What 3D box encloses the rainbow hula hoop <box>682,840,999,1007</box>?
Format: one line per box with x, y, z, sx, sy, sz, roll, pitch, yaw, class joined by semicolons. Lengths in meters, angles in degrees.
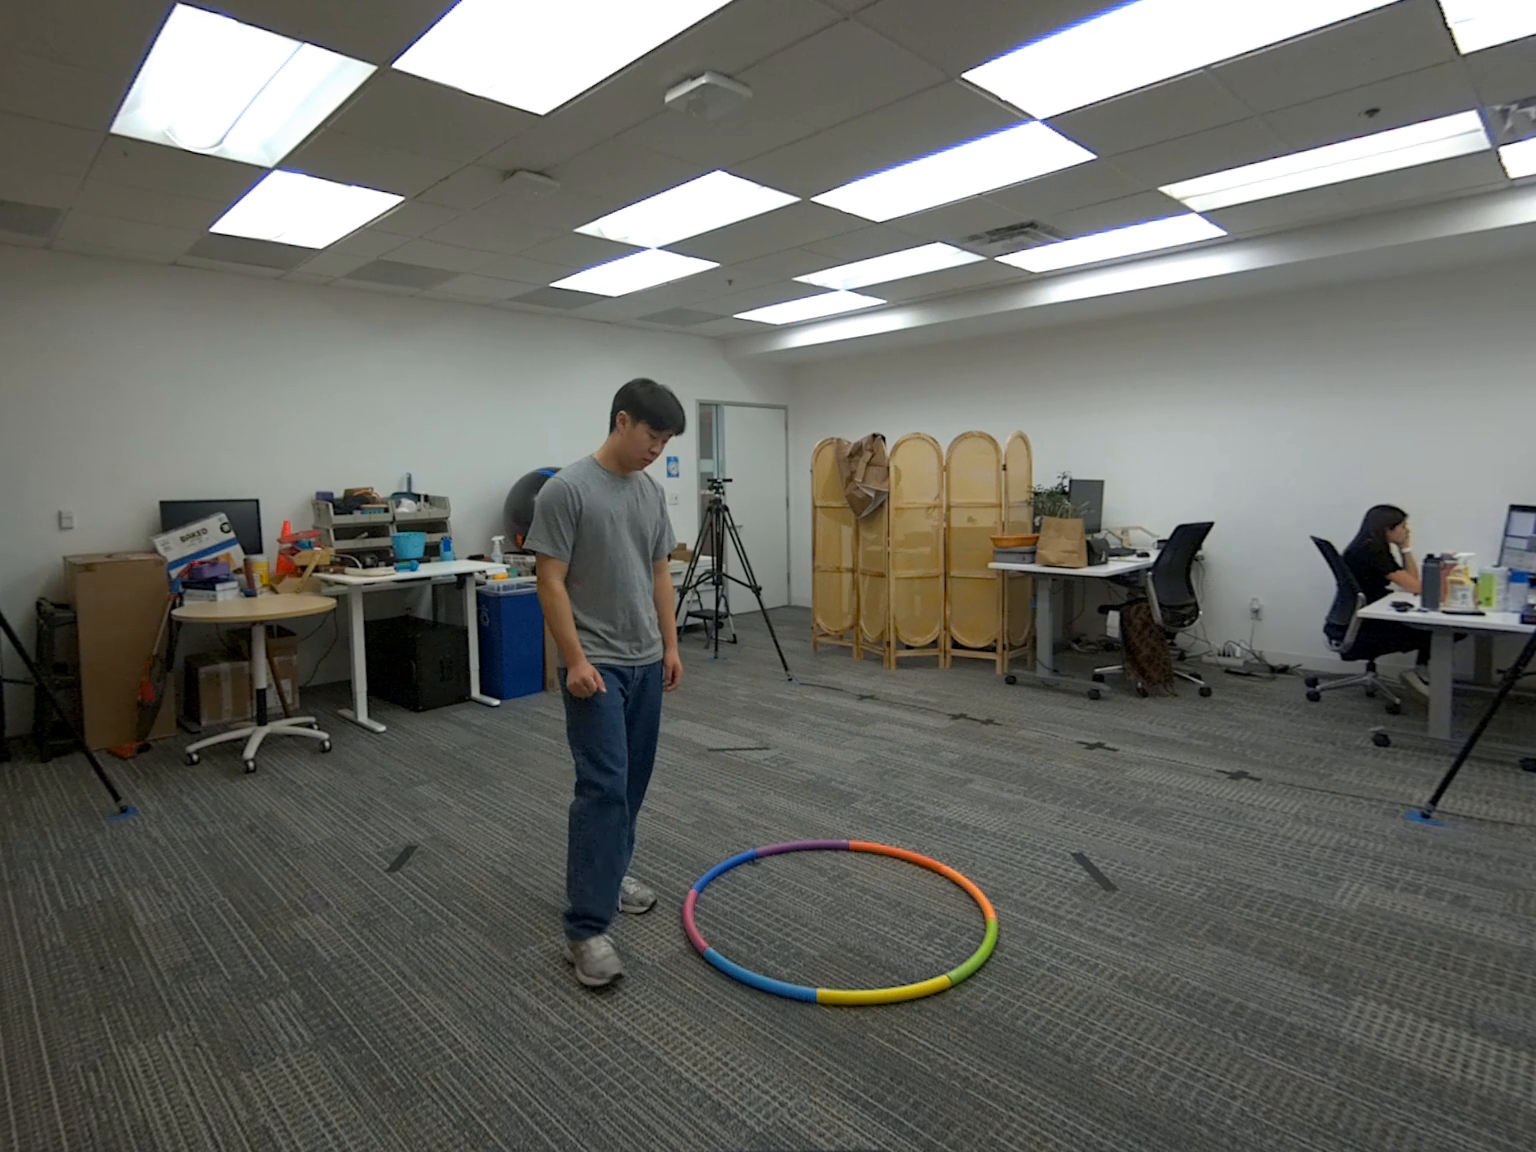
0.218;1.056;2.742;0.978;0.035;0.984;-1;7;-2;rainbow hula hoop
